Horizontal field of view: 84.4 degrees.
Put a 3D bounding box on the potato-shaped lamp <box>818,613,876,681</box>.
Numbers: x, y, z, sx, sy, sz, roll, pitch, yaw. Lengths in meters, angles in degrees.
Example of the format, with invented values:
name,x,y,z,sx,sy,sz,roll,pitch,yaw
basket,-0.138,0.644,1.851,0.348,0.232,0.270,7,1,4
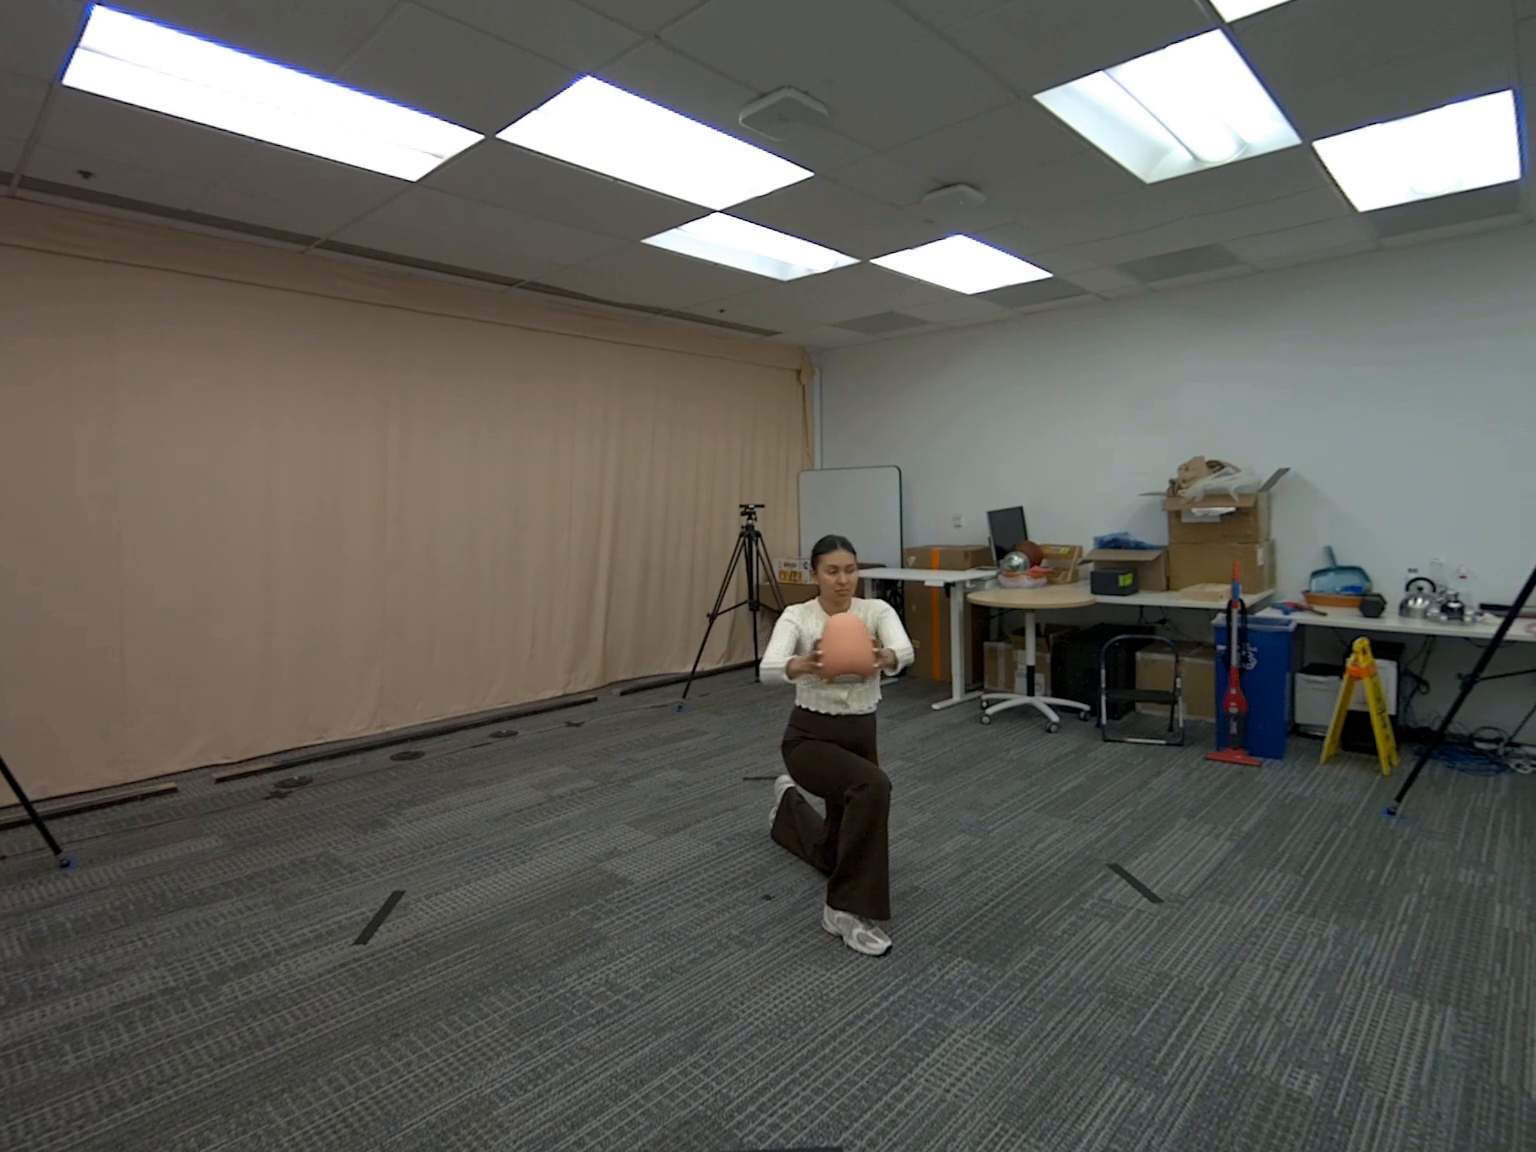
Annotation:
name,x,y,z,sx,sy,sz,roll,pitch,yaw
potato-shaped lamp,0.193,0.207,2.509,0.167,0.198,0.168,6,-4,15
